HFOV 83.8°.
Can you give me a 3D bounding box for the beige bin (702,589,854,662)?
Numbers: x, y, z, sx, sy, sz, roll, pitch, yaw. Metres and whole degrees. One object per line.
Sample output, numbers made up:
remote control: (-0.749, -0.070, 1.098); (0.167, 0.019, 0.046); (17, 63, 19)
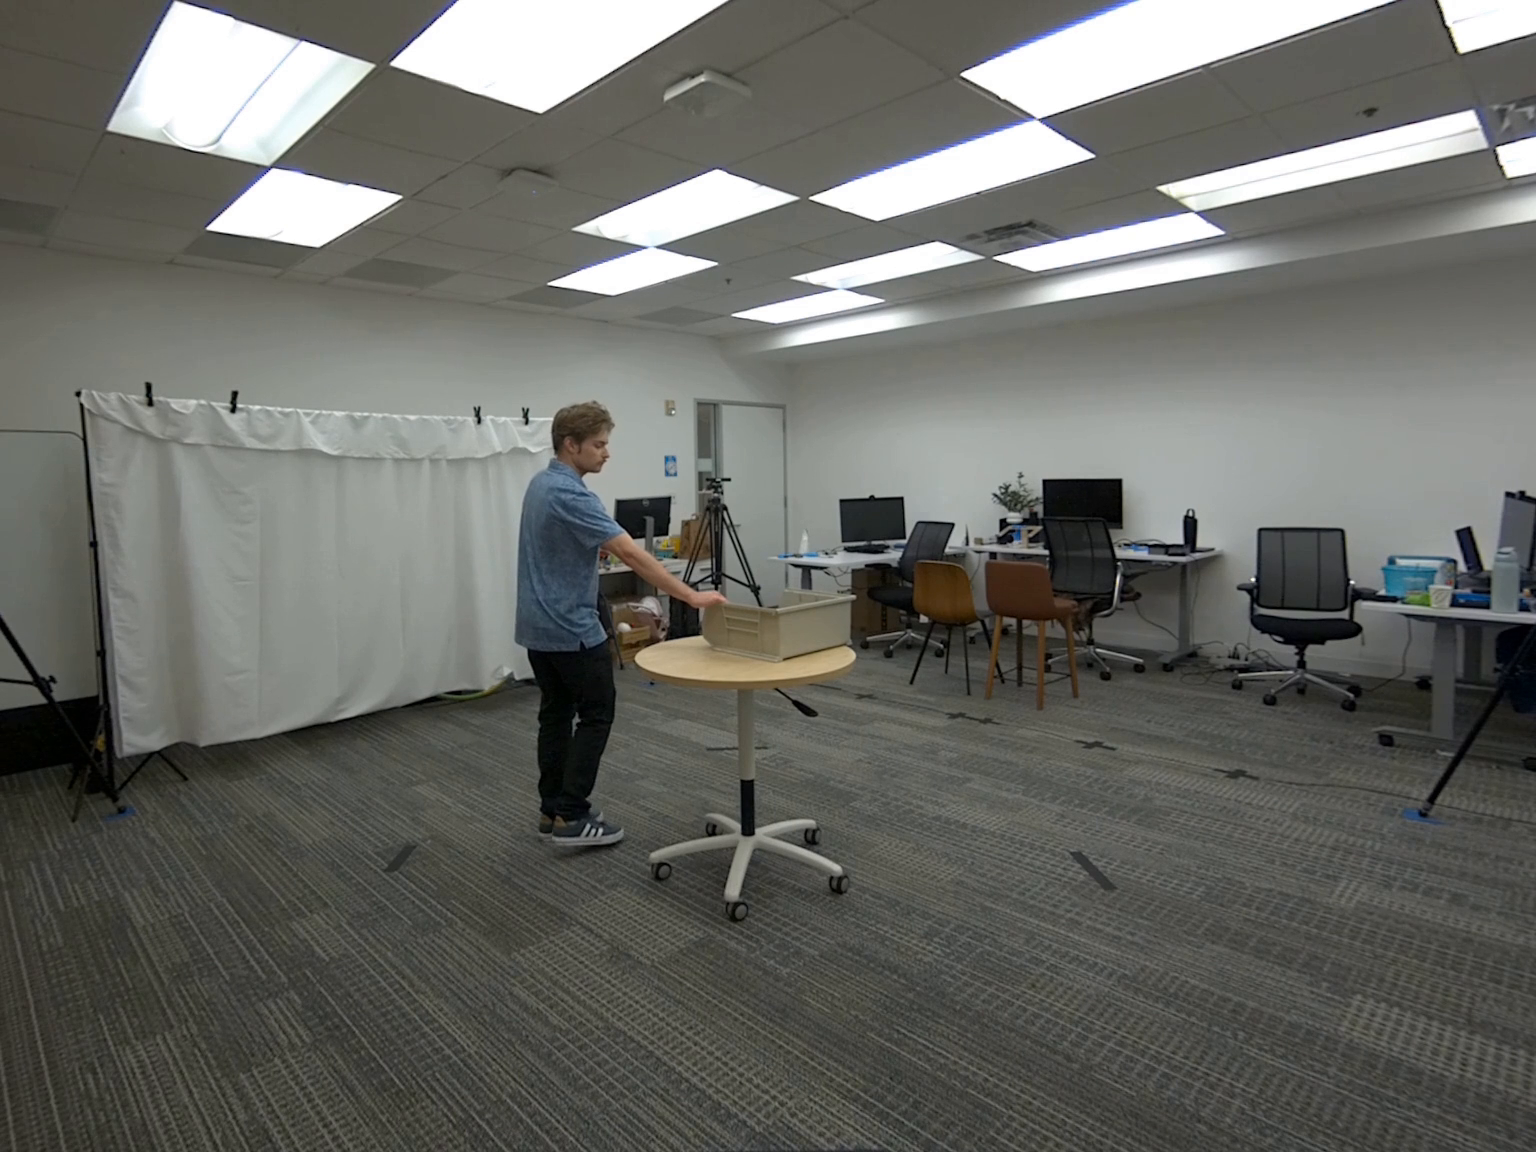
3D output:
beige bin: (0.043, 0.168, 3.091); (0.411, 0.188, 0.389); (-7, 10, -44)
